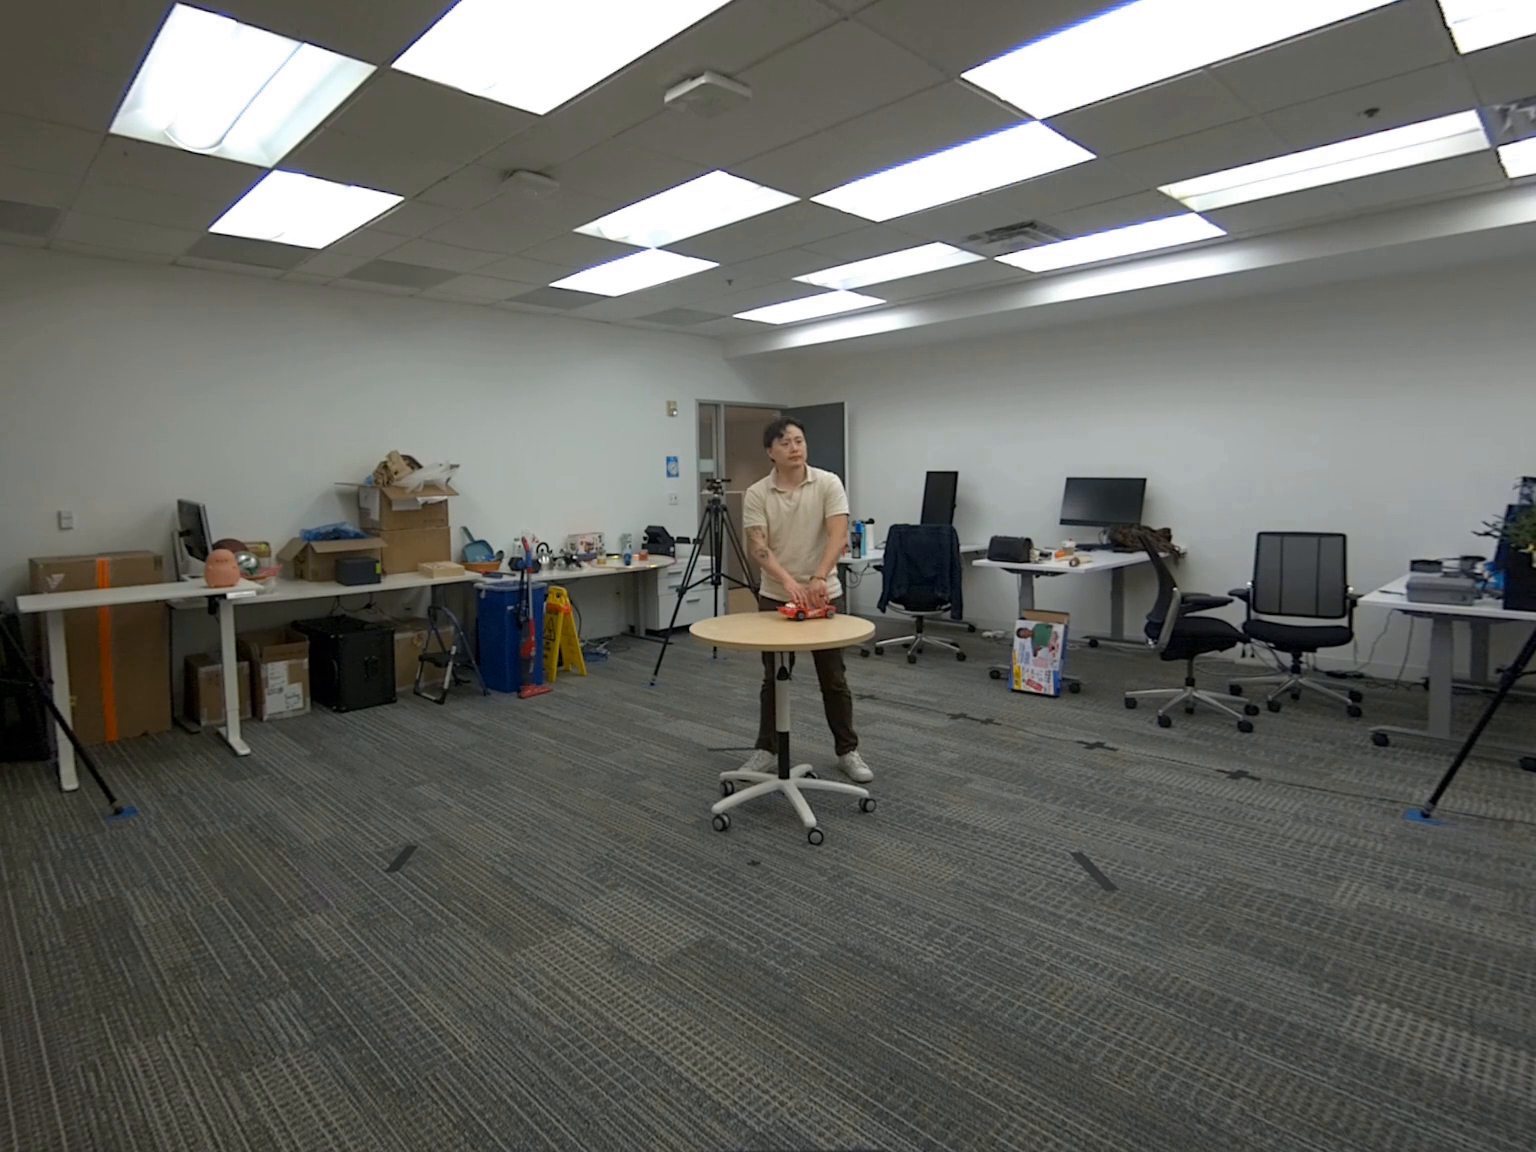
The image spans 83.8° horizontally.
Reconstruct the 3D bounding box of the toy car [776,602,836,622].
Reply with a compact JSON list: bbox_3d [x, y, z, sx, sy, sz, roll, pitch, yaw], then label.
[{"bbox_3d":[0.160,0.157,3.724,0.249,0.083,0.133,8,2,-23],"label":"toy car"}]
